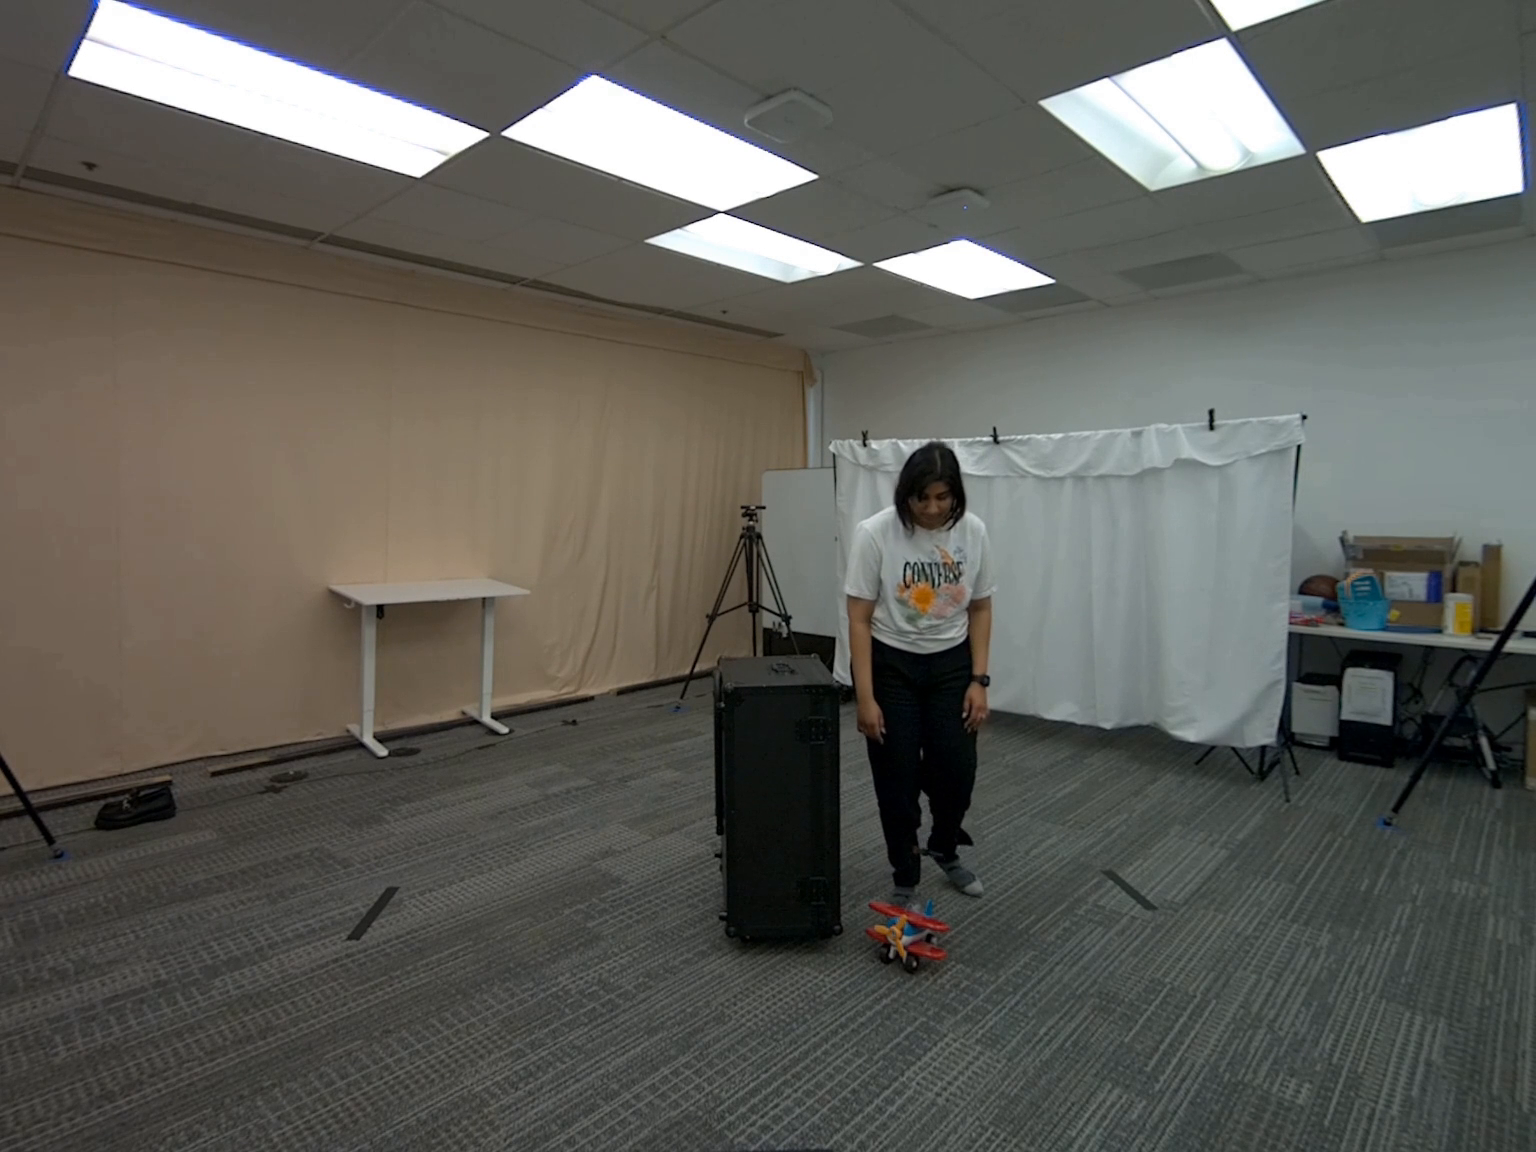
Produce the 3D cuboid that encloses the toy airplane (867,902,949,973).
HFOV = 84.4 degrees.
[{"bbox_3d":[0.437,1.109,2.595,0.254,0.156,0.258,1,7,8],"label":"toy airplane"}]
